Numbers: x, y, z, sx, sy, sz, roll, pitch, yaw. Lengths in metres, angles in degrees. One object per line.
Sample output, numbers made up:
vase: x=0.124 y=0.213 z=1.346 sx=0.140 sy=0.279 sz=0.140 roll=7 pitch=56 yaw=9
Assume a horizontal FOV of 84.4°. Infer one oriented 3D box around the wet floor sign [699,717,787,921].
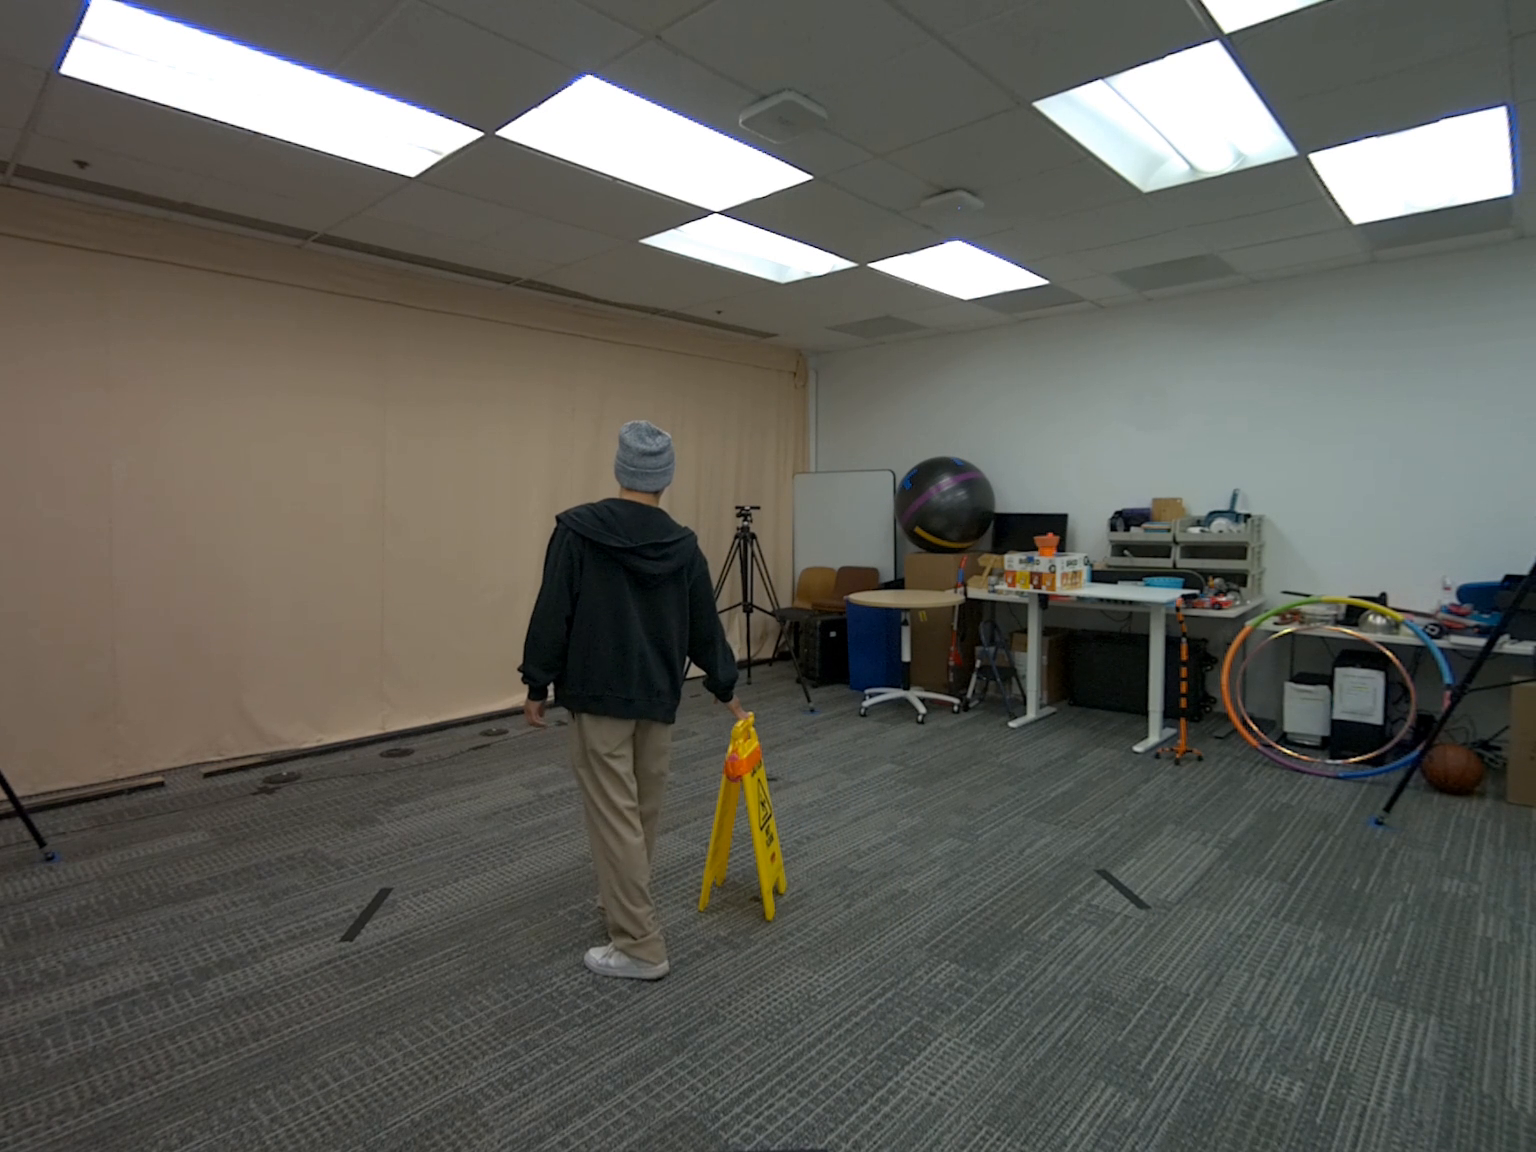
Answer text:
wet floor sign: x=-0.087 y=0.820 z=2.967 sx=0.294 sy=0.645 sz=0.278 roll=0 pitch=2 yaw=15
